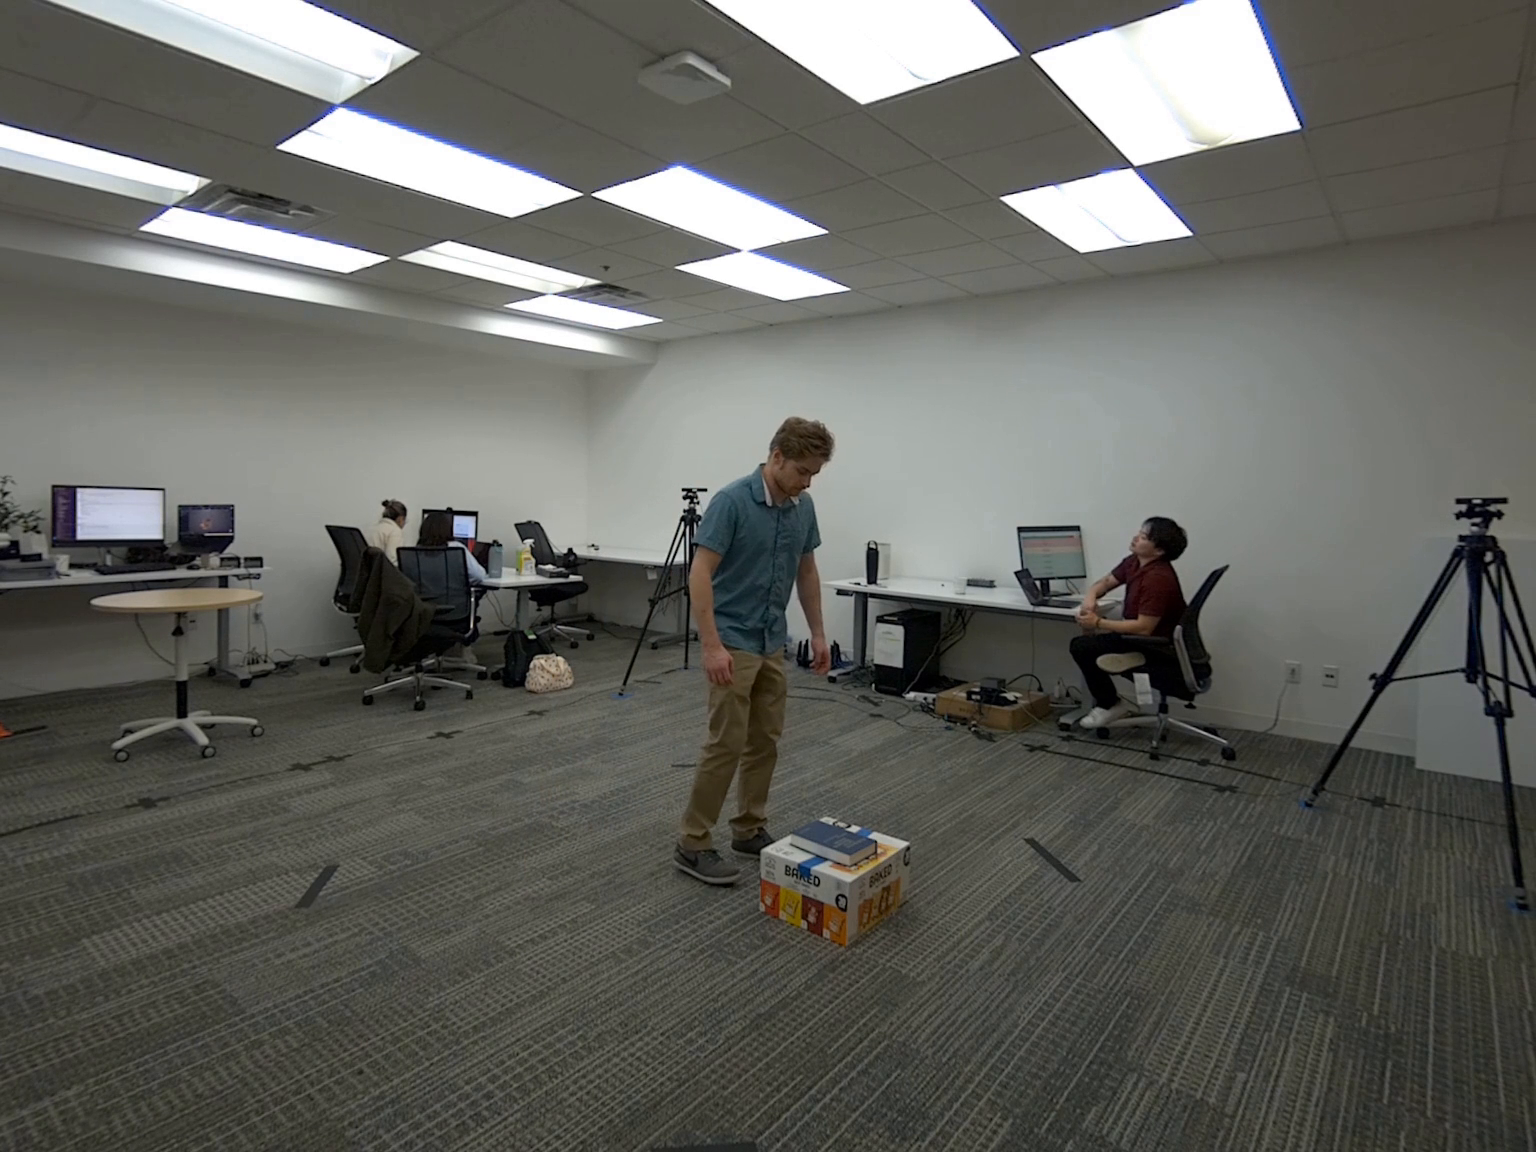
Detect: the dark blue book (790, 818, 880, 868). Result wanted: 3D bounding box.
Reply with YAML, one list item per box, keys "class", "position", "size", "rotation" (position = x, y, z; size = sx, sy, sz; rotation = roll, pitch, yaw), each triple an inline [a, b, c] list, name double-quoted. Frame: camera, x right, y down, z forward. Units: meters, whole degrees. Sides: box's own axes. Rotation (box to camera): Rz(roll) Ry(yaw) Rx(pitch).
- class: "dark blue book"
  position: [0.216, 0.893, 2.835]
  size: [0.253, 0.045, 0.158]
  rotation: [7, 8, 40]
